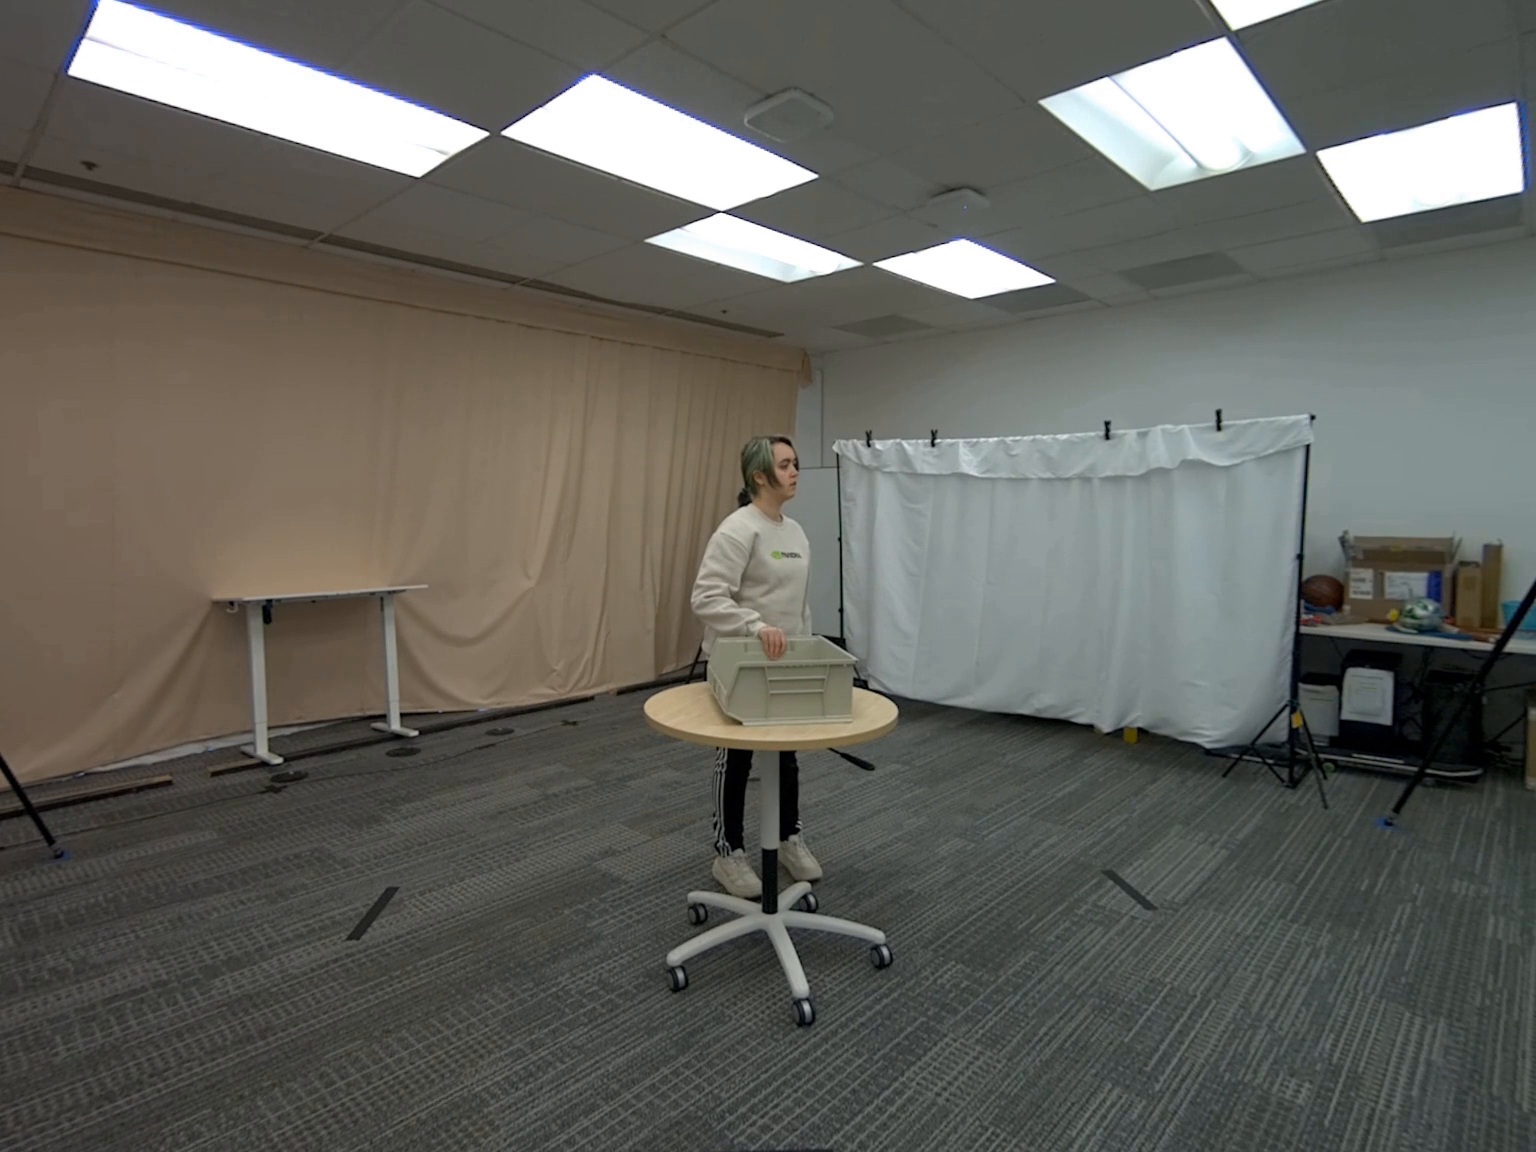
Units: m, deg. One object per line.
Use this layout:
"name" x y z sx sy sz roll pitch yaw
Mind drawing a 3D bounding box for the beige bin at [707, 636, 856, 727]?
"beige bin" 0.022 0.320 2.539 0.375 0.188 0.427 -4 6 -8
